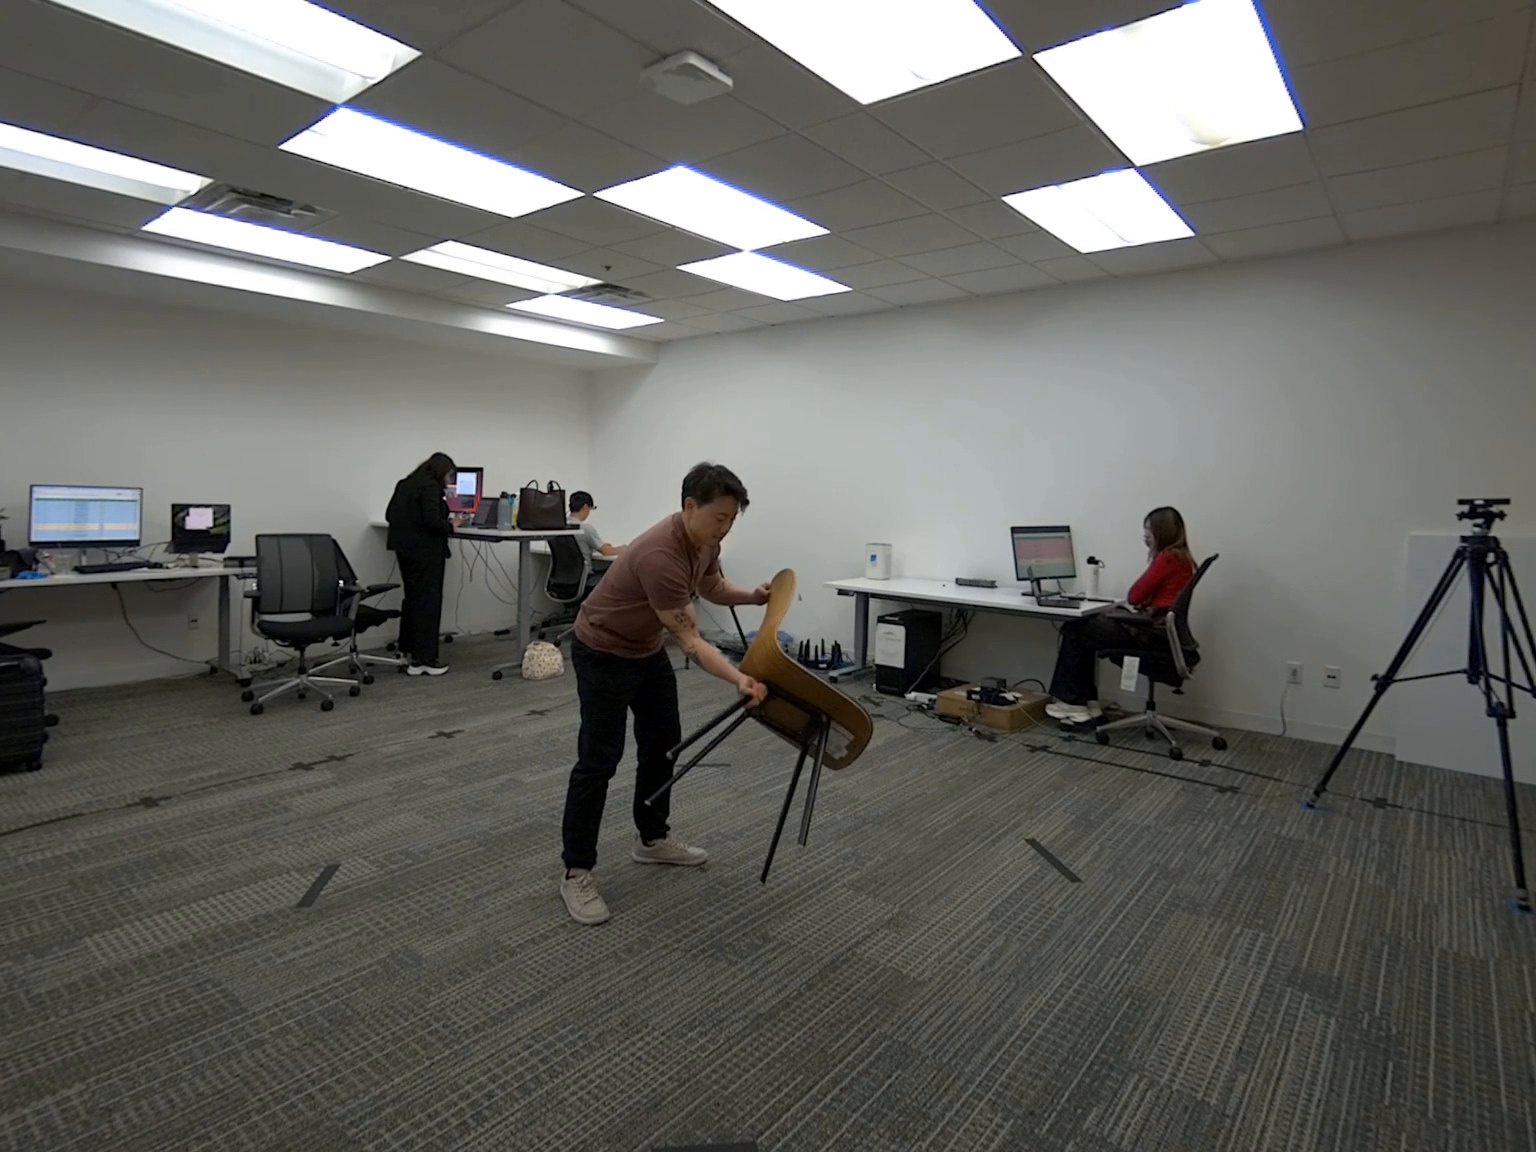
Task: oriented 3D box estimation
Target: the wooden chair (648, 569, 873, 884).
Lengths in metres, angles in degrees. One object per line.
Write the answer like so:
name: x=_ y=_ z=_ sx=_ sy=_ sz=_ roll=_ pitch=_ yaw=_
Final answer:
wooden chair: x=0.052 y=0.460 z=2.784 sx=0.528 sy=0.883 sz=0.471 roll=28 pitch=-36 yaw=5
